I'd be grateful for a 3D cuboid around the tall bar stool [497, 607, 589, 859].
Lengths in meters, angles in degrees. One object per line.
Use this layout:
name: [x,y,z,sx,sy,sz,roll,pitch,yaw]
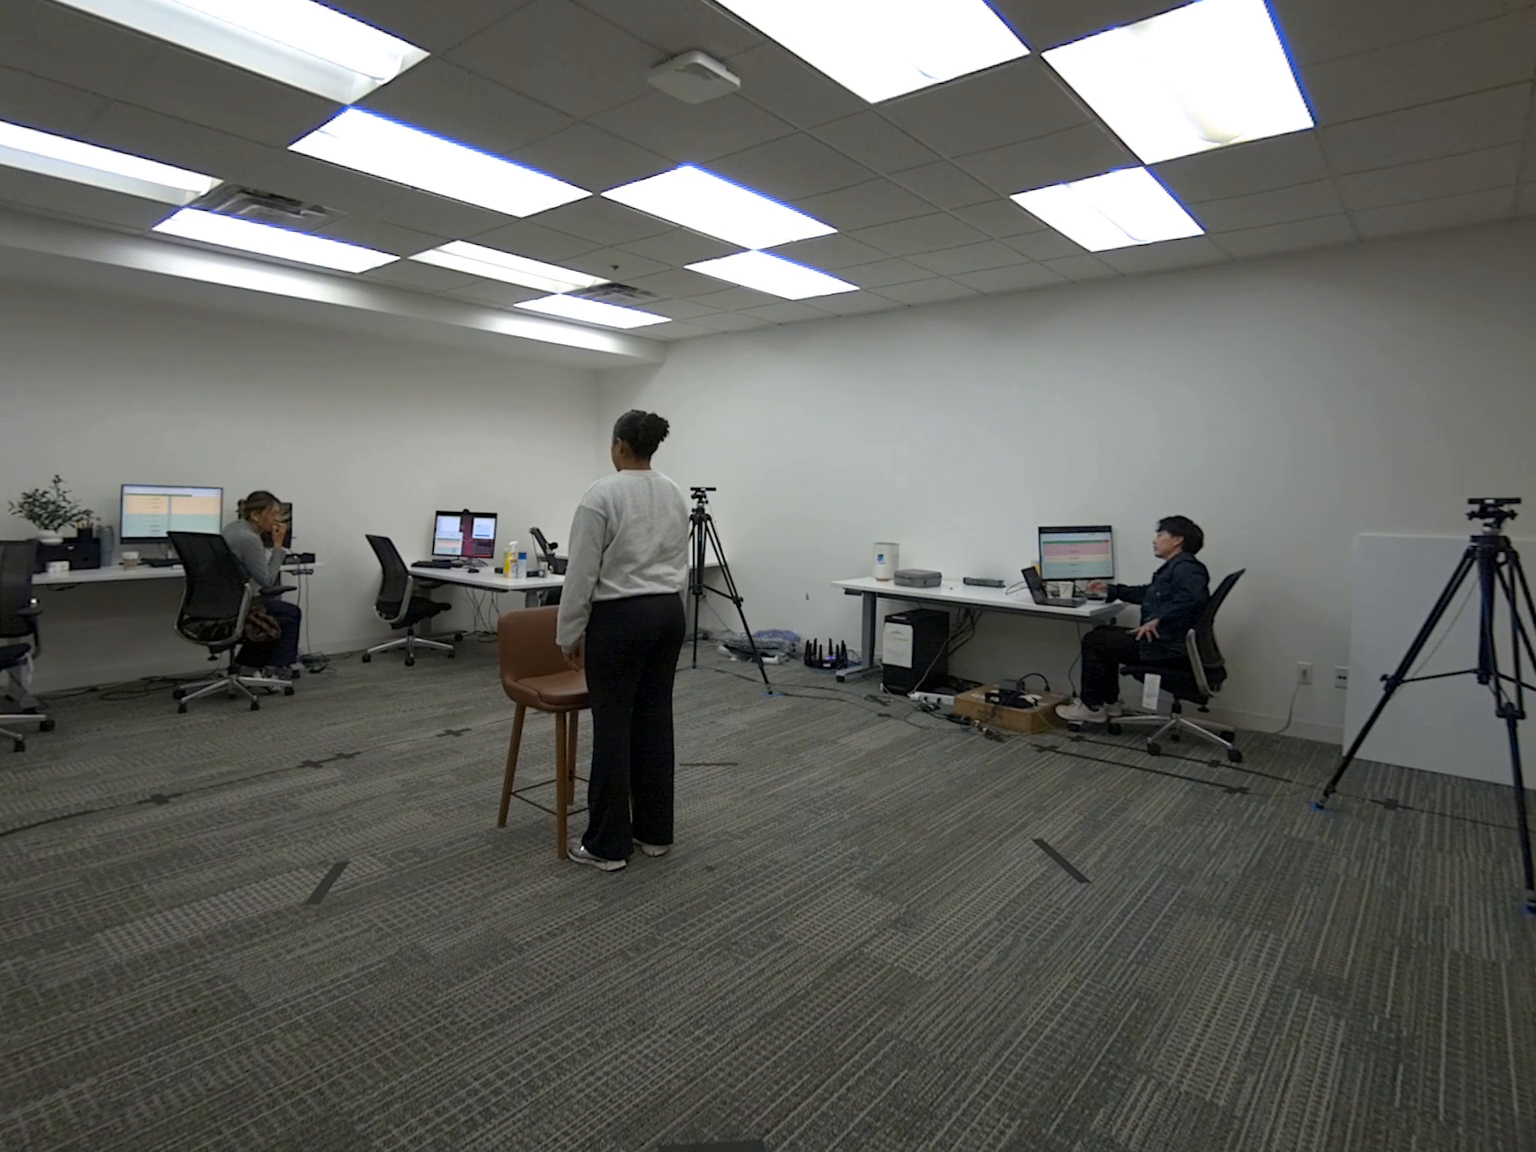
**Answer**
tall bar stool: [-0.822,0.583,3.442,0.483,0.889,0.442,1,2,40]
